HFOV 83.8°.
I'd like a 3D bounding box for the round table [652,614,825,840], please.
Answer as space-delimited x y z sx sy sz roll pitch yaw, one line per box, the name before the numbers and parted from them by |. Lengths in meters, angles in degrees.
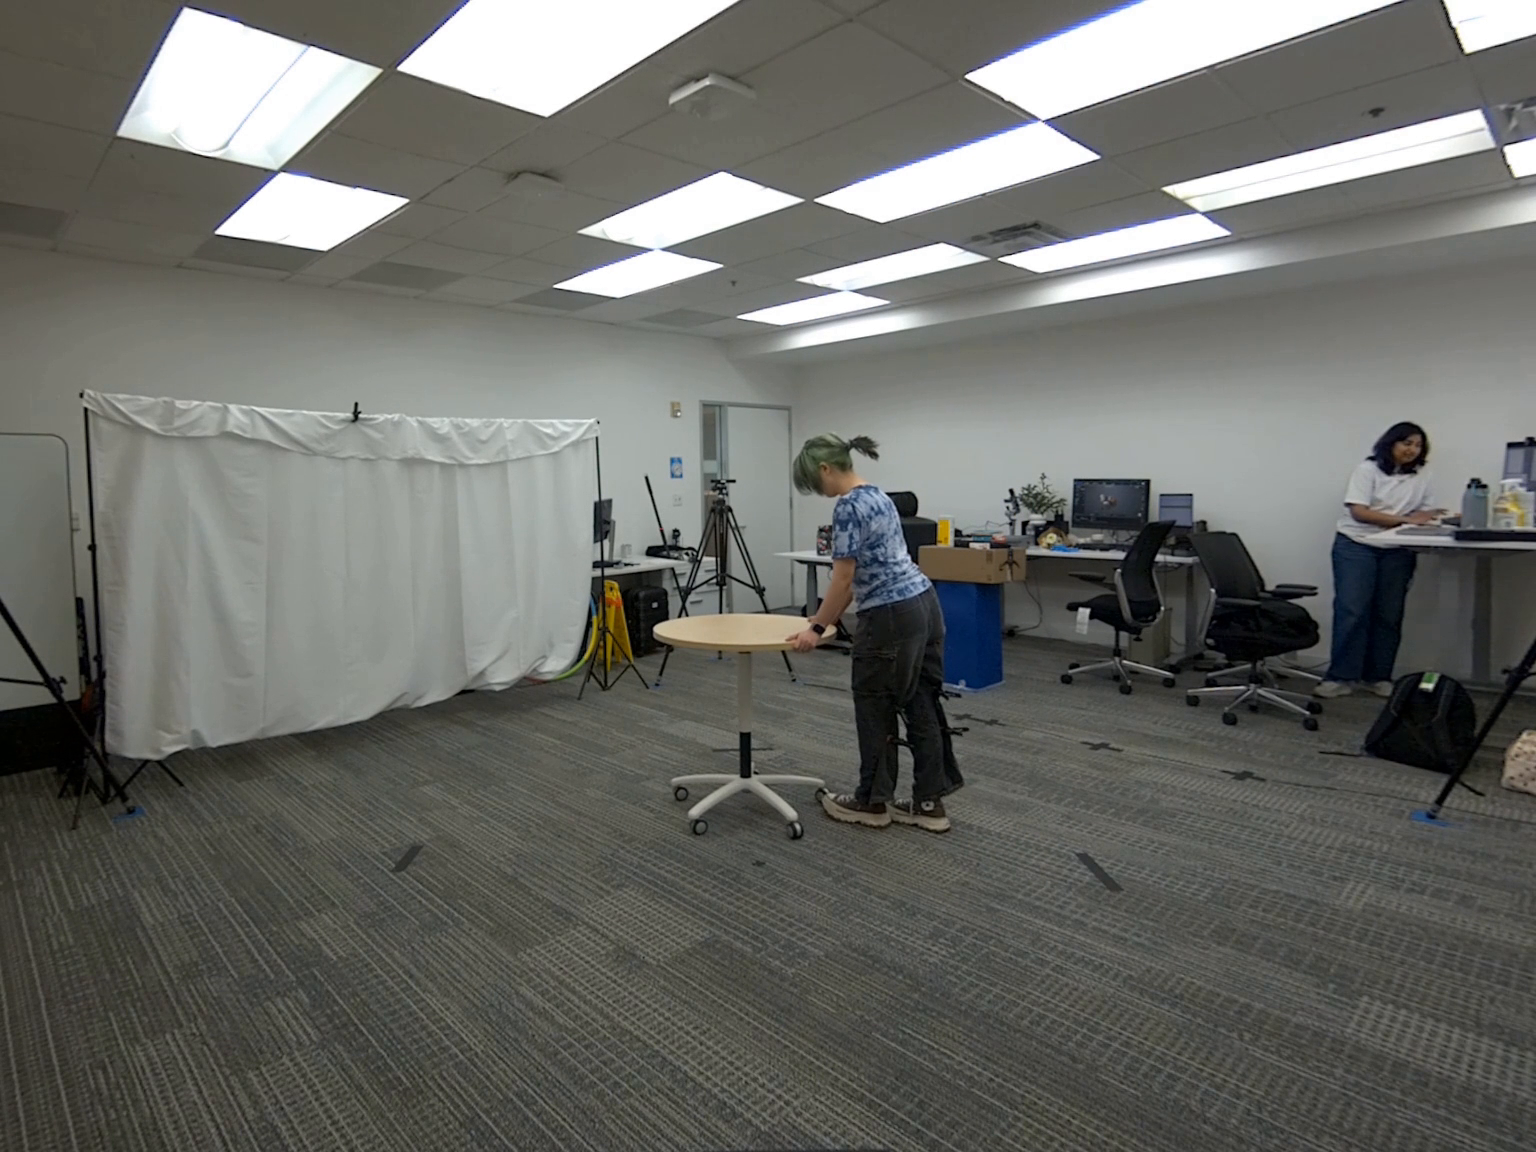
round table | -0.095 0.606 3.610 0.763 0.791 0.768 -1 5 -2
